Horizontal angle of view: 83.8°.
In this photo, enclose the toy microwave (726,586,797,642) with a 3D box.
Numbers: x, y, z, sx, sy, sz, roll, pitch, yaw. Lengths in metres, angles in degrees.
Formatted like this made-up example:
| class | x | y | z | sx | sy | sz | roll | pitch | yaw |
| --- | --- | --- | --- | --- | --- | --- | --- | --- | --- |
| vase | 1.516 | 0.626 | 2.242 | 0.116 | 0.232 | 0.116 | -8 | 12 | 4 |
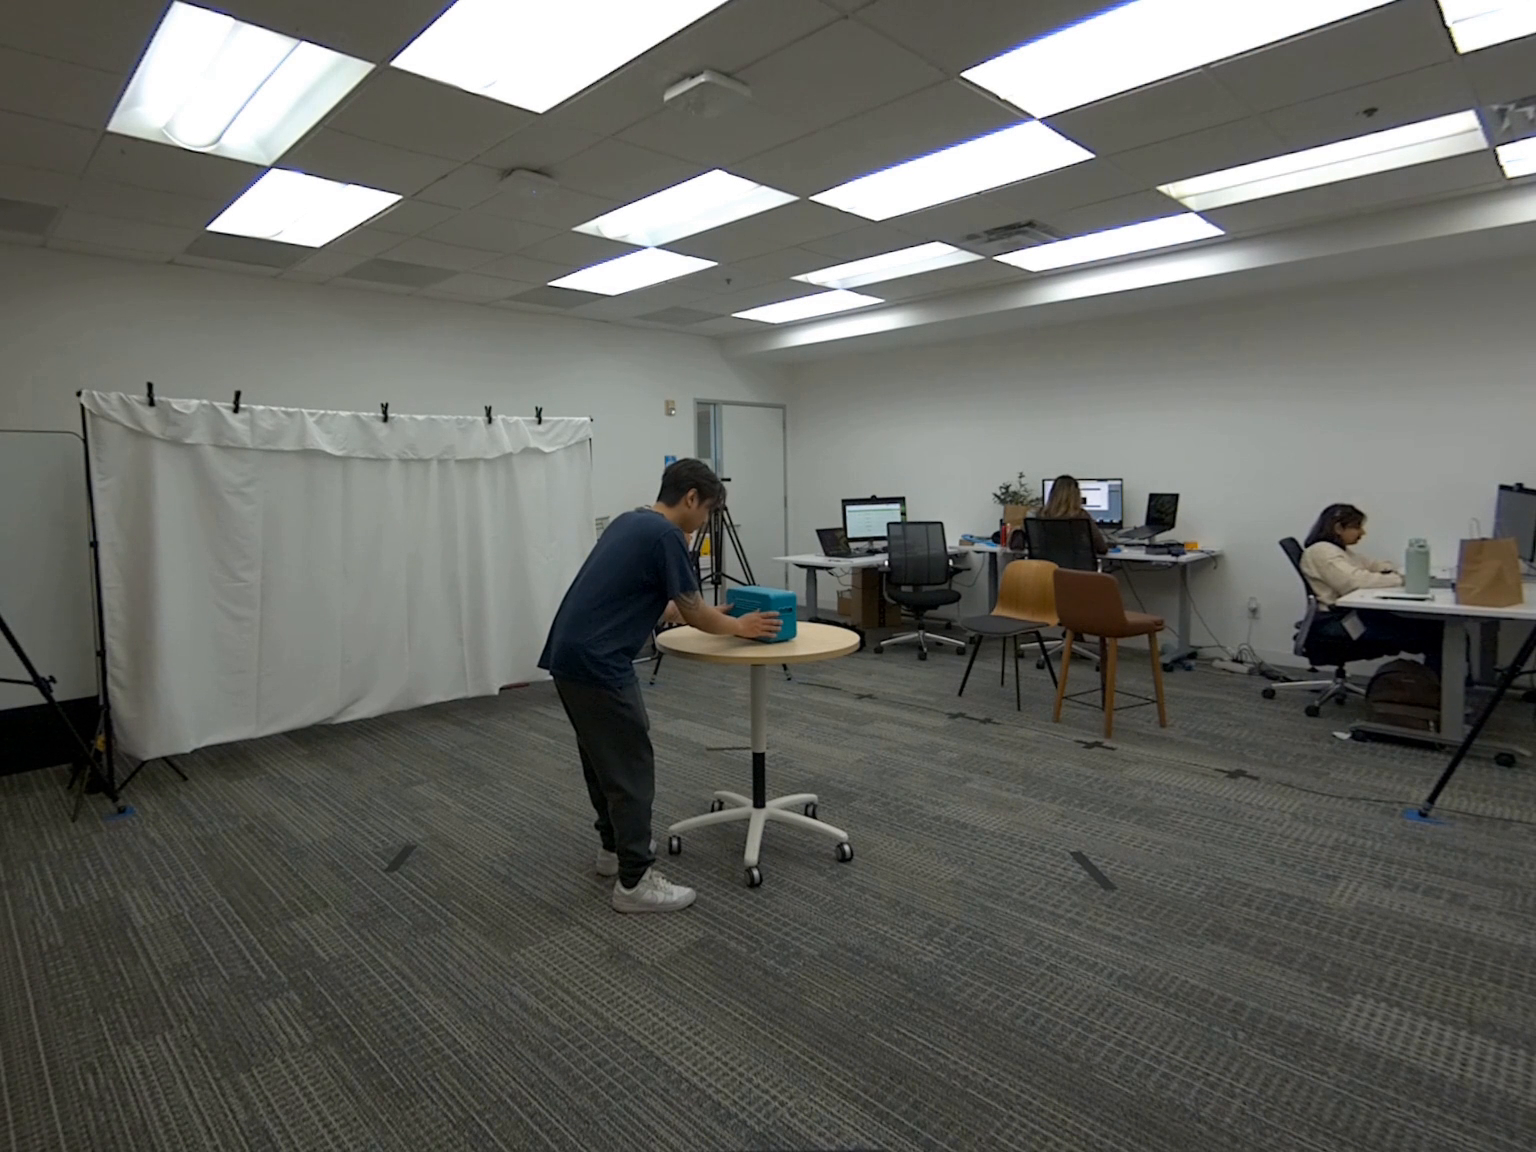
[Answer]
| class | x | y | z | sx | sy | sz | roll | pitch | yaw |
| --- | --- | --- | --- | --- | --- | --- | --- | --- | --- |
| toy microwave | -0.023 | 0.139 | 3.204 | 0.148 | 0.183 | 0.295 | -3 | 6 | -36 |
